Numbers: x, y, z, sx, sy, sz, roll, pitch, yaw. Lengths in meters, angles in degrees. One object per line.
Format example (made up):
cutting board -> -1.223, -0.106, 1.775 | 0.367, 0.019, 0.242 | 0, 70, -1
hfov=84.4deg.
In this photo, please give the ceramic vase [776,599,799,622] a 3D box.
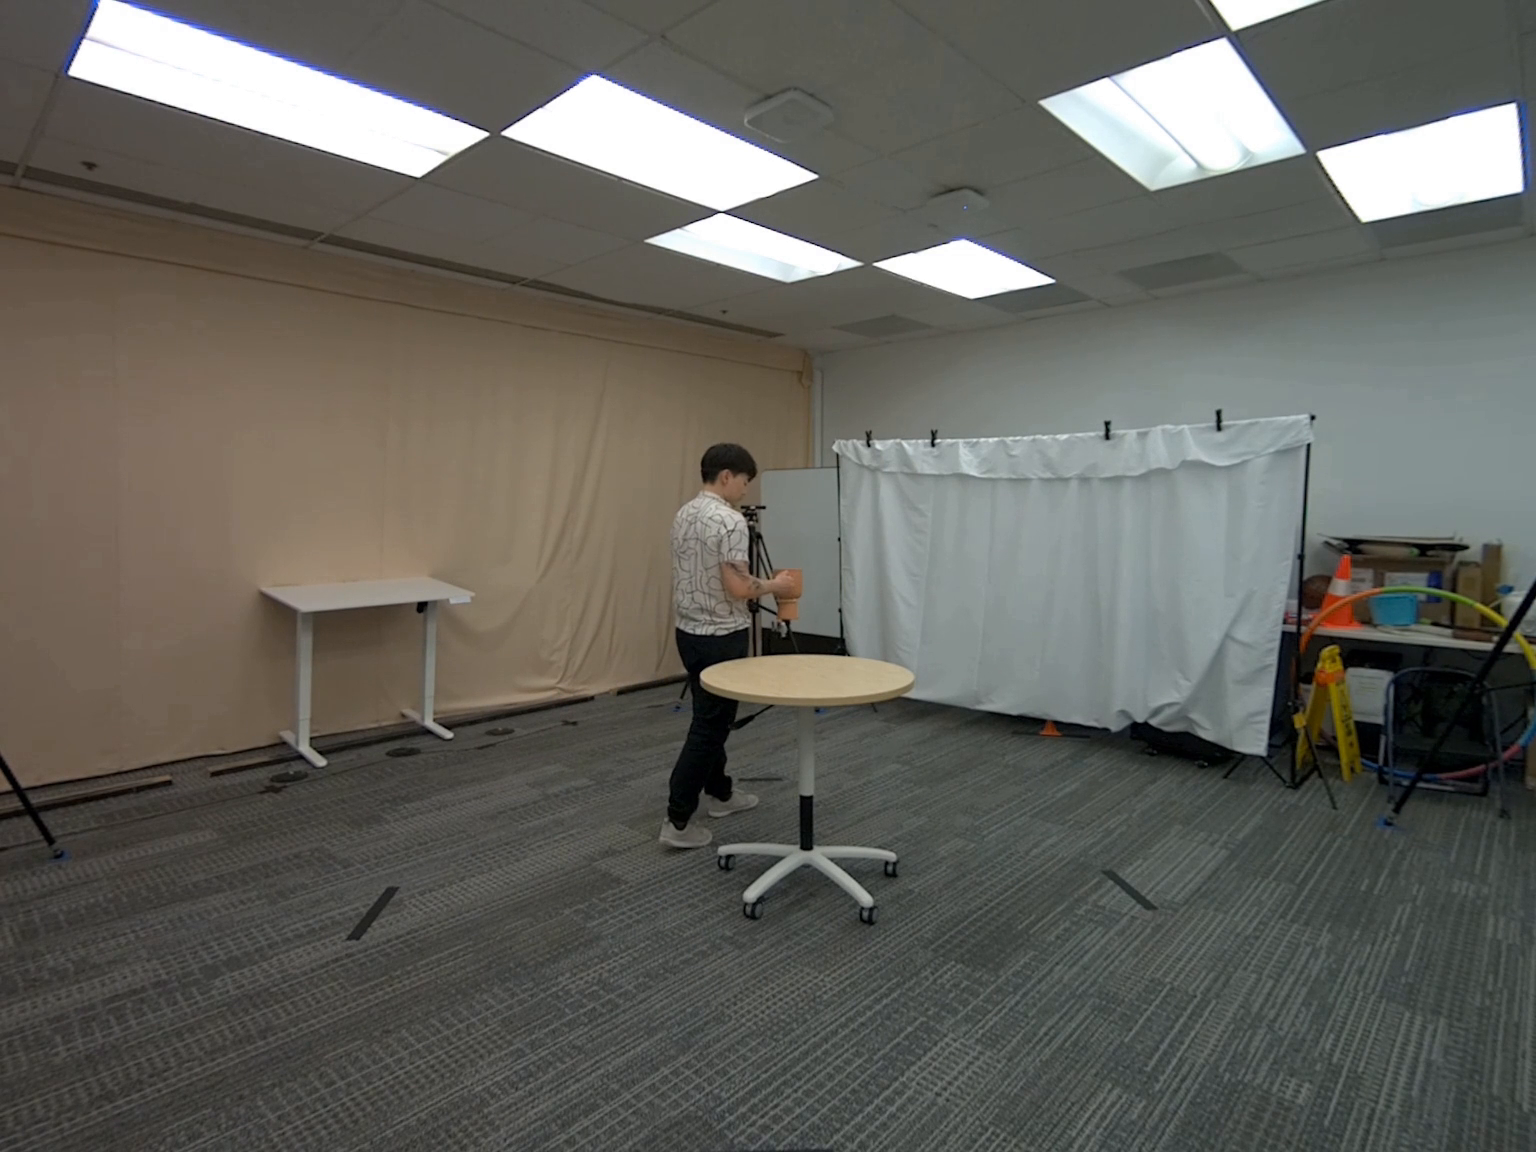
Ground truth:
ceramic vase -> 0.079, 0.079, 3.704 | 0.139, 0.220, 0.153 | -3, -4, 41
